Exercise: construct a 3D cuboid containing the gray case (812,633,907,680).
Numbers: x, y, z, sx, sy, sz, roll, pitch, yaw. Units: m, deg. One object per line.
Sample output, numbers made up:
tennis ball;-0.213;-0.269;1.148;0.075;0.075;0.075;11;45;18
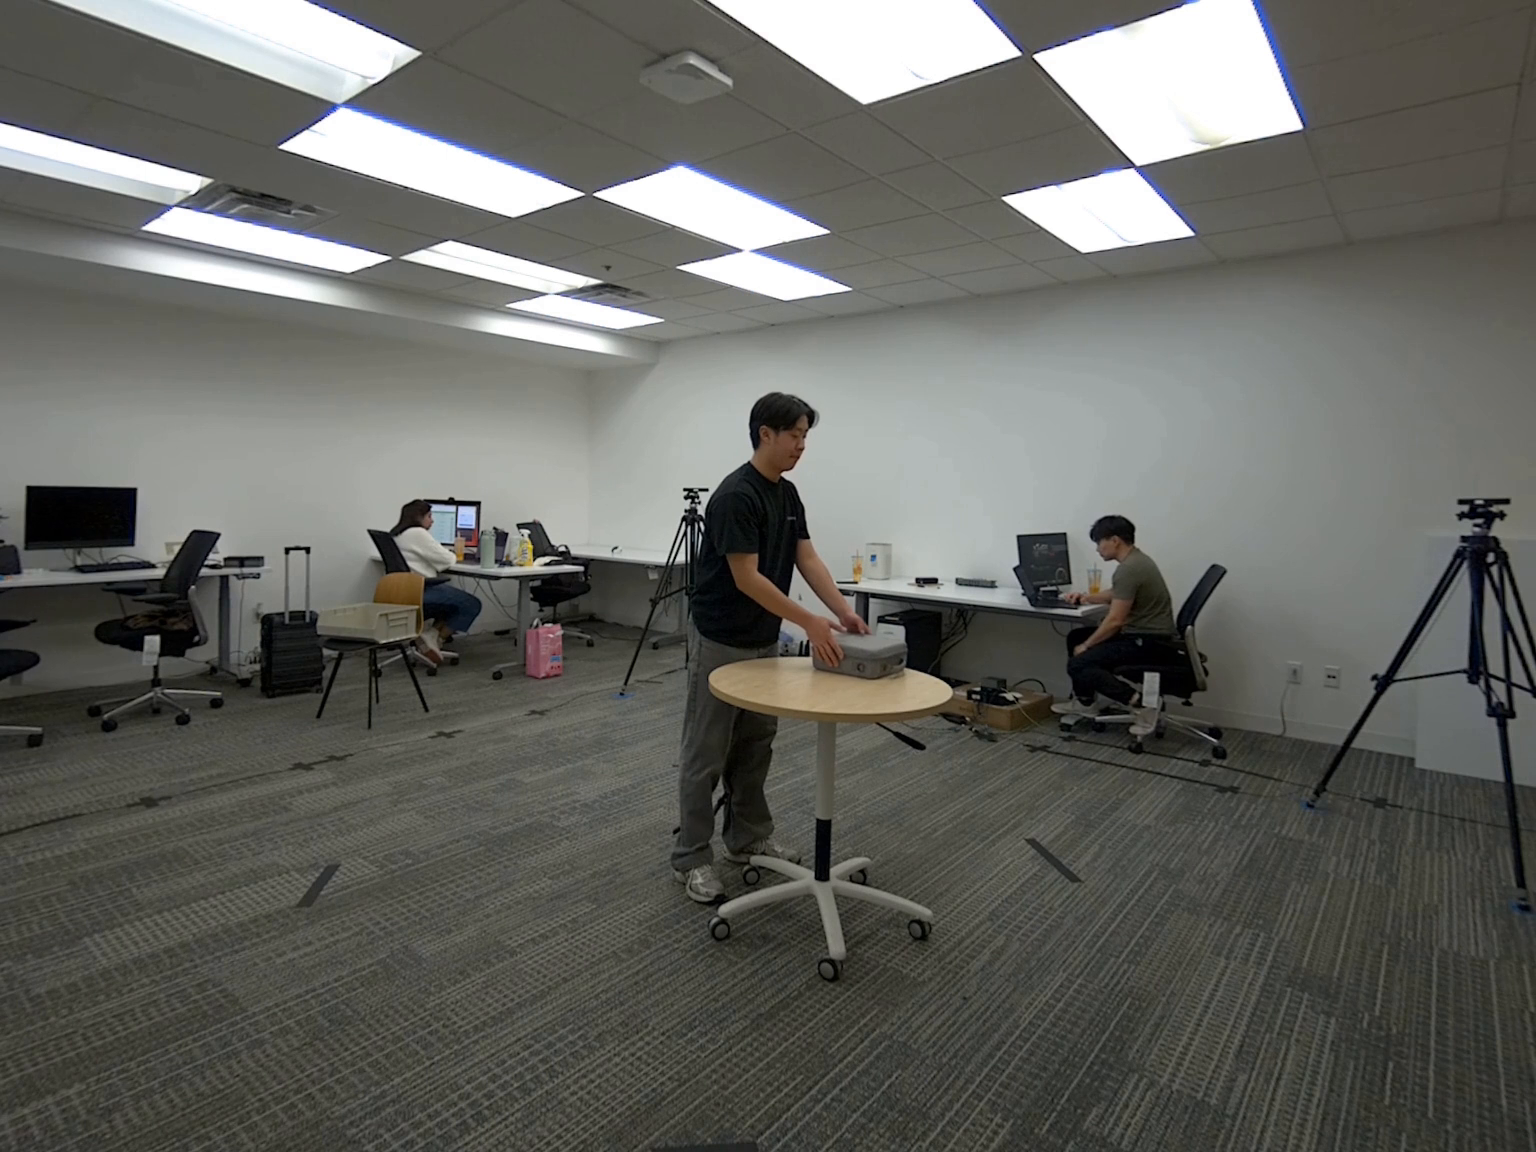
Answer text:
gray case;0.323;0.271;2.892;0.297;0.102;0.255;7;8;38
